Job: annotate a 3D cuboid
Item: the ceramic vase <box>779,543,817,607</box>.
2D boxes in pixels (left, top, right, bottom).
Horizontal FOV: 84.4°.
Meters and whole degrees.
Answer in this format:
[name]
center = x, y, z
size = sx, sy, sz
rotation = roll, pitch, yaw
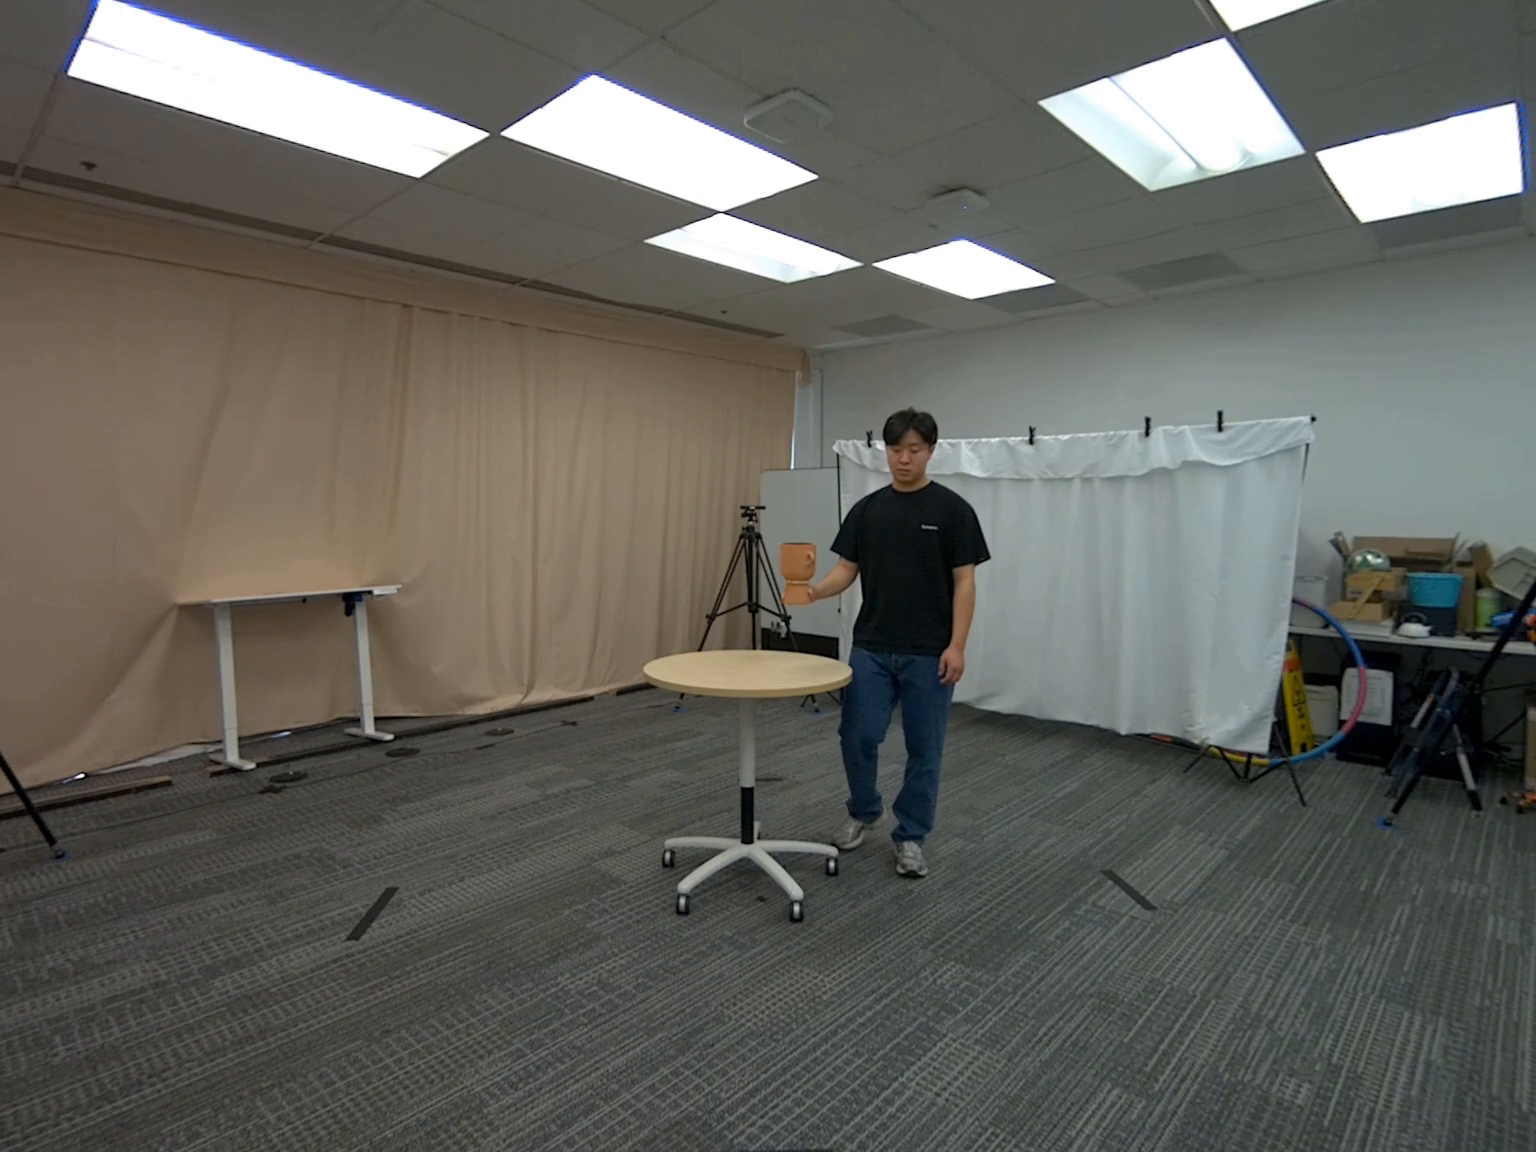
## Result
[ceramic vase]
center = 0.115, -0.007, 3.100
size = 0.136, 0.219, 0.158
rotation = 1, 6, 7
